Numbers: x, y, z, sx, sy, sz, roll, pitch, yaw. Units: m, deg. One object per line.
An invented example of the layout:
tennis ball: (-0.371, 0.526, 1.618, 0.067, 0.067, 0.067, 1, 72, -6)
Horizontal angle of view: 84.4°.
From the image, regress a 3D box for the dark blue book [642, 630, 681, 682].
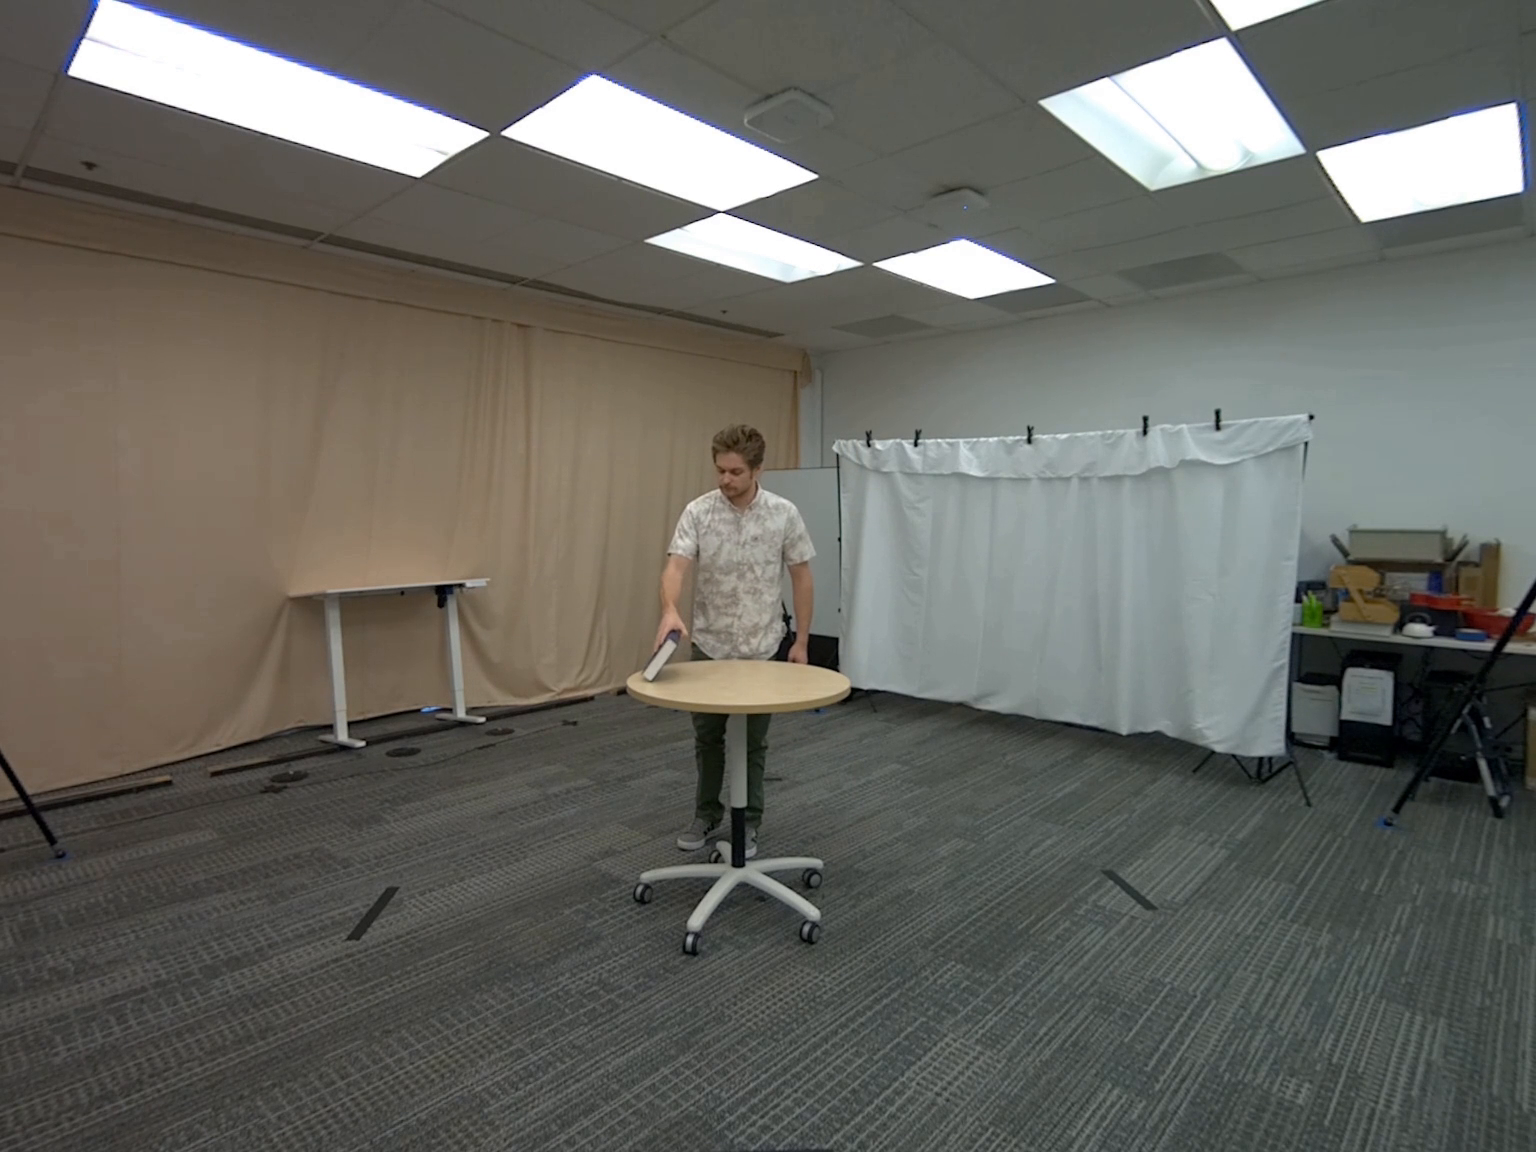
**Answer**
dark blue book: (-0.366, 0.273, 2.969, 0.045, 0.163, 0.246, 32, 3, -6)
